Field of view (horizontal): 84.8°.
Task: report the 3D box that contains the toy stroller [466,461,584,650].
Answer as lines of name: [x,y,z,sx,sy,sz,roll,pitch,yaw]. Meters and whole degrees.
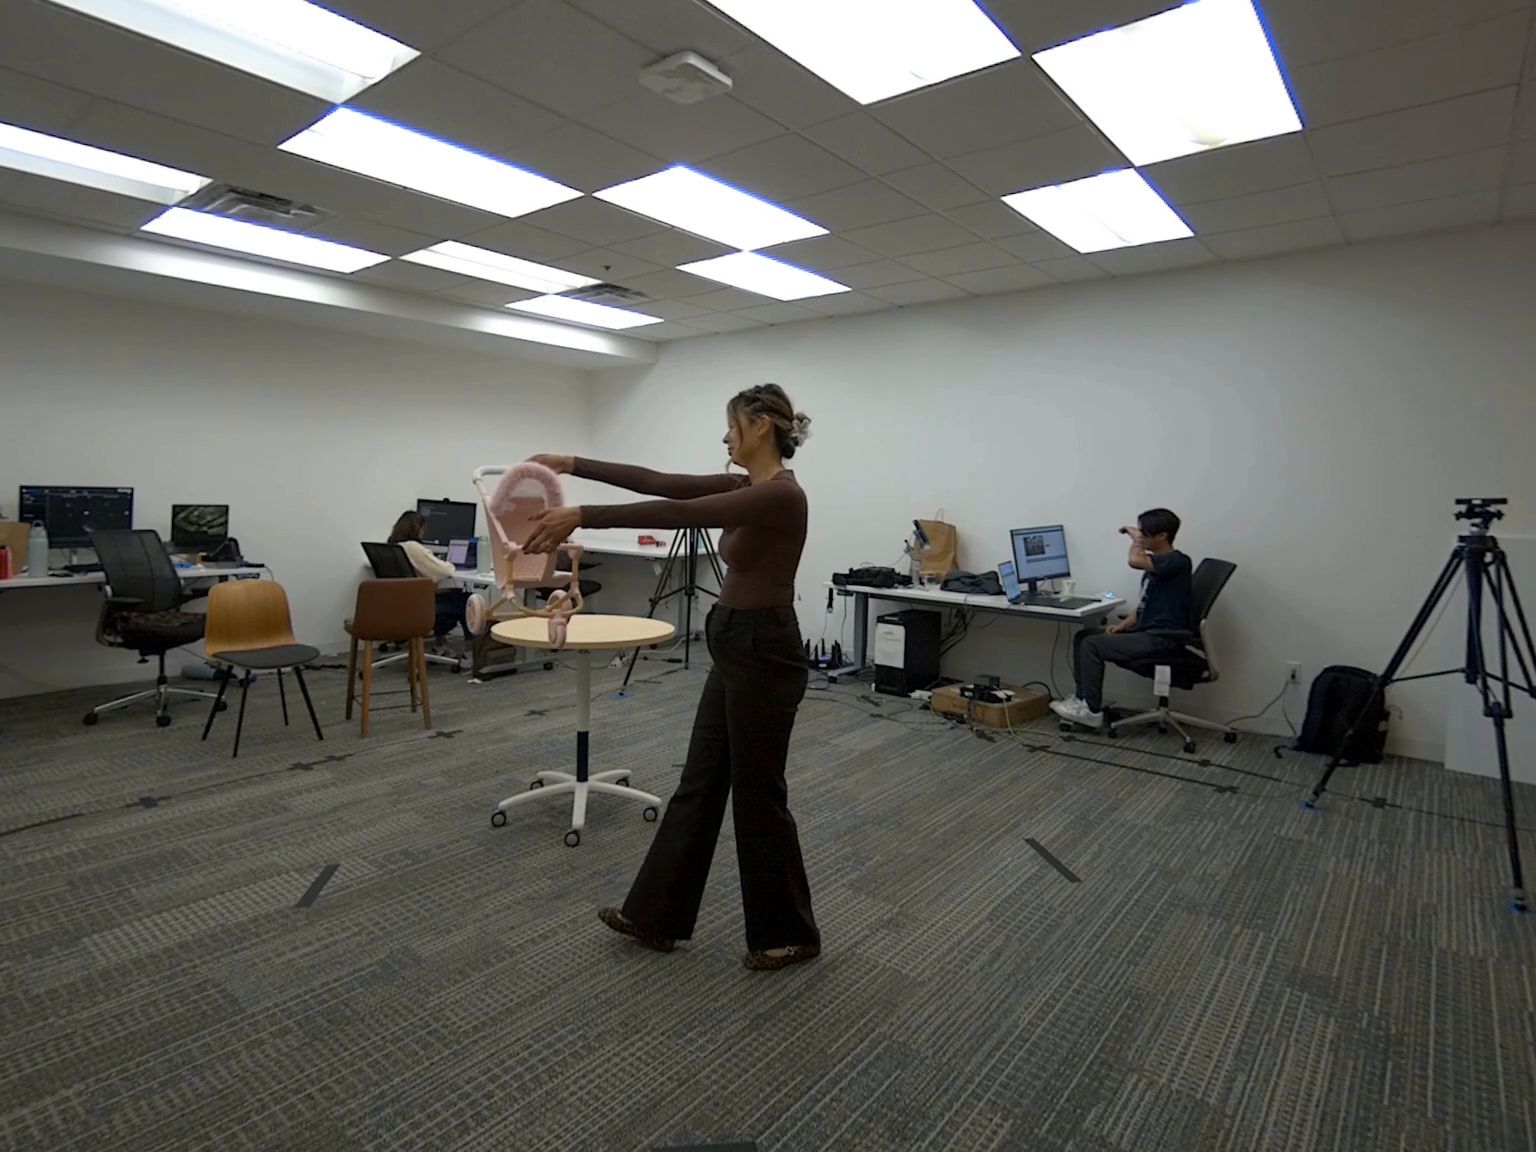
toy stroller: [-0.658,-0.068,2.301,0.273,0.539,0.349,-1,-7,-33]
